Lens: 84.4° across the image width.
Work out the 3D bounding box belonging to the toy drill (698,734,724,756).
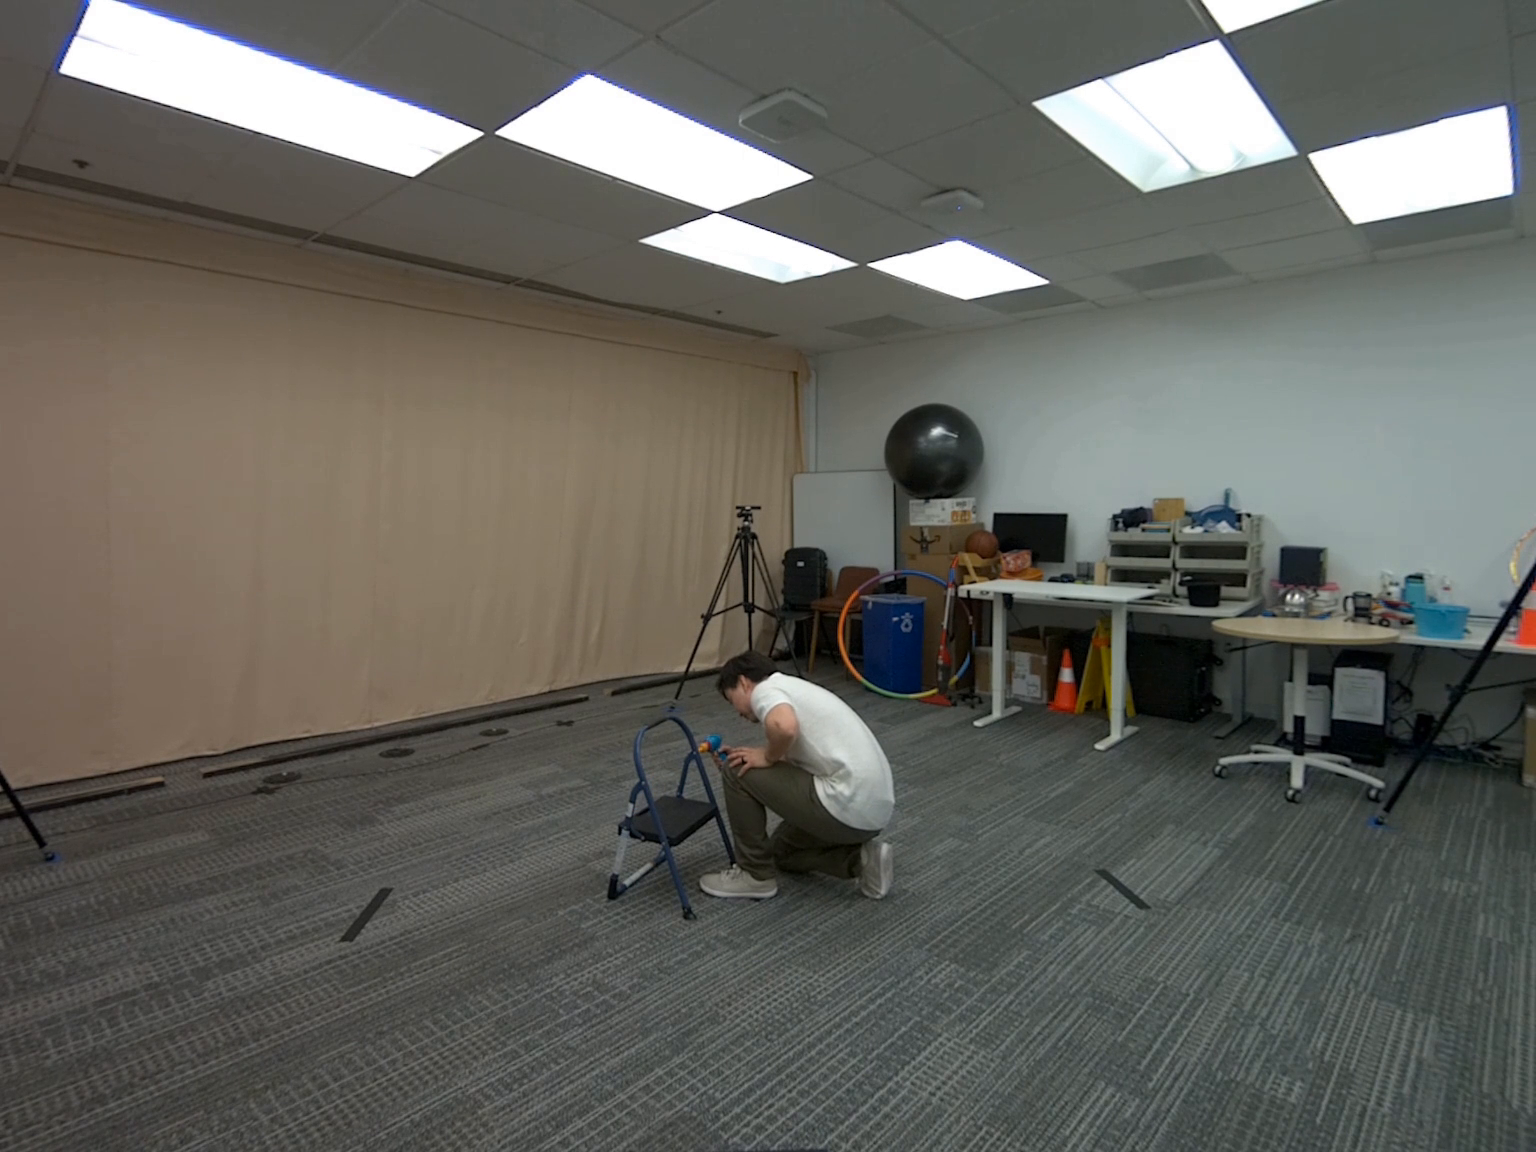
[{"bbox_3d":[-0.209,0.700,3.325,0.062,0.148,0.166,-41,-13,26],"label":"toy drill"}]
